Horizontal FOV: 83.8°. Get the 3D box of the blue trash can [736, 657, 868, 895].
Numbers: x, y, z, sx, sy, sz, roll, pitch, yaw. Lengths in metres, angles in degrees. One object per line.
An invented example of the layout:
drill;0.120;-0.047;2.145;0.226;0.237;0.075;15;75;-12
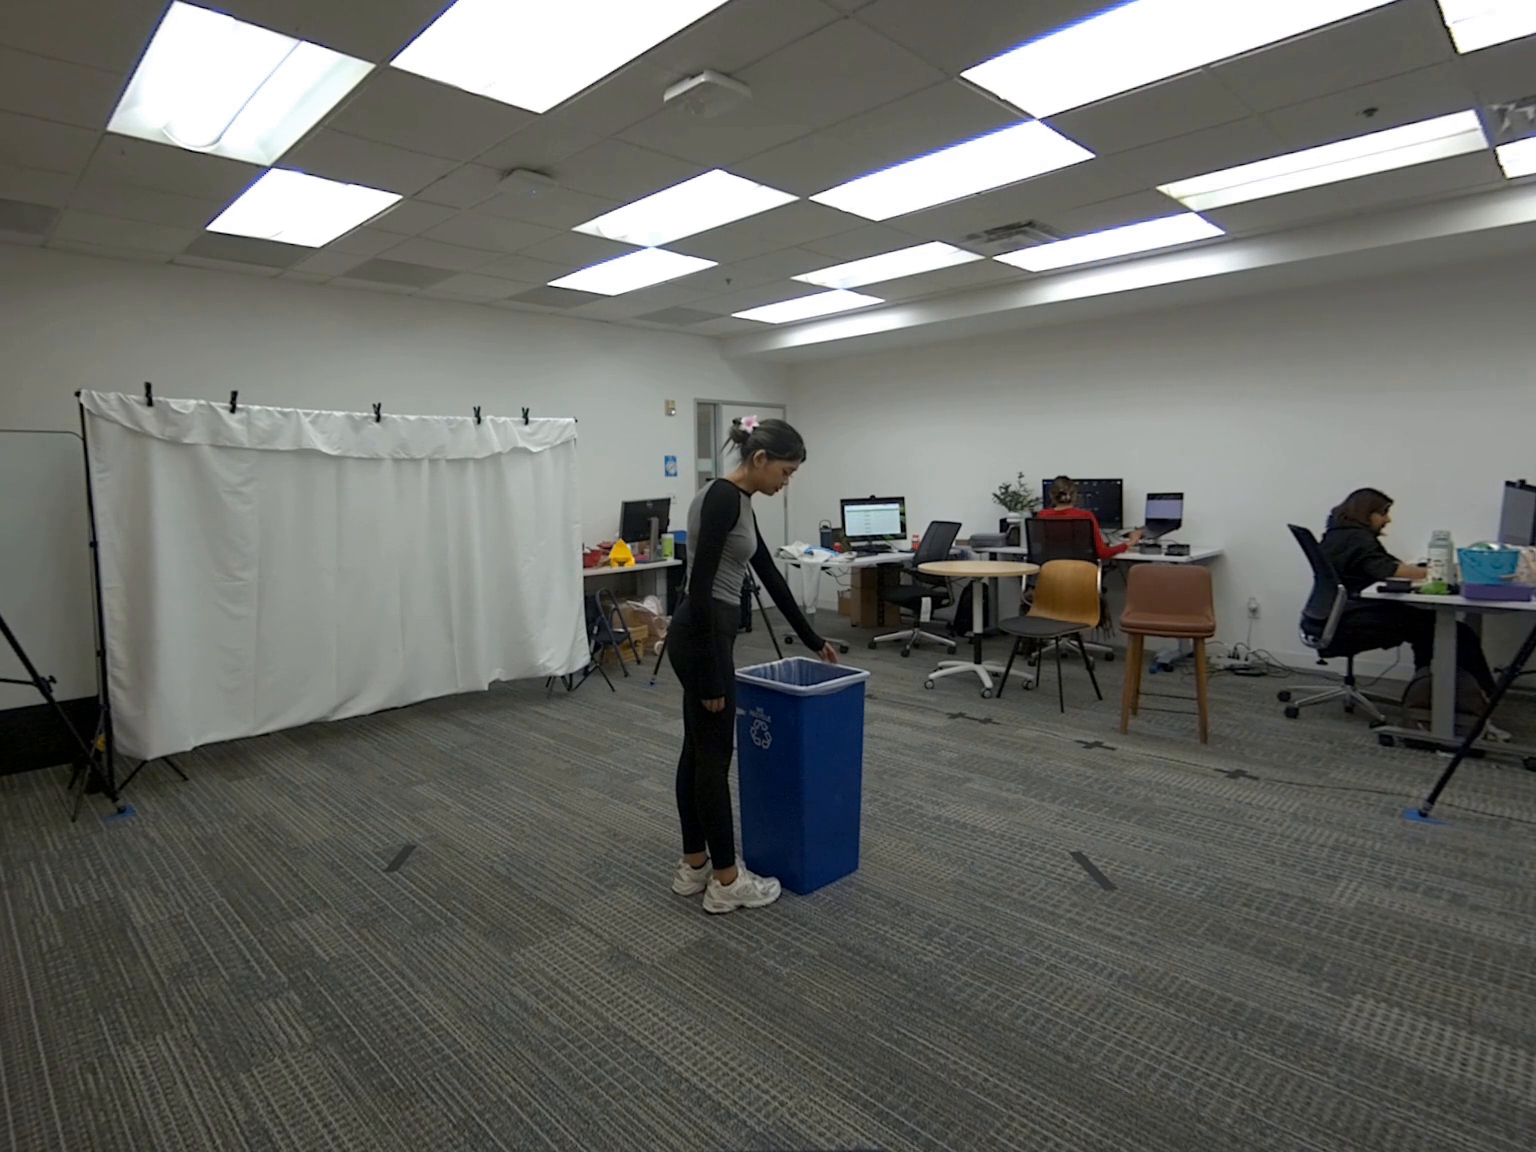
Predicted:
blue trash can;0.124;0.690;3.032;0.368;0.711;0.385;-5;5;-43
